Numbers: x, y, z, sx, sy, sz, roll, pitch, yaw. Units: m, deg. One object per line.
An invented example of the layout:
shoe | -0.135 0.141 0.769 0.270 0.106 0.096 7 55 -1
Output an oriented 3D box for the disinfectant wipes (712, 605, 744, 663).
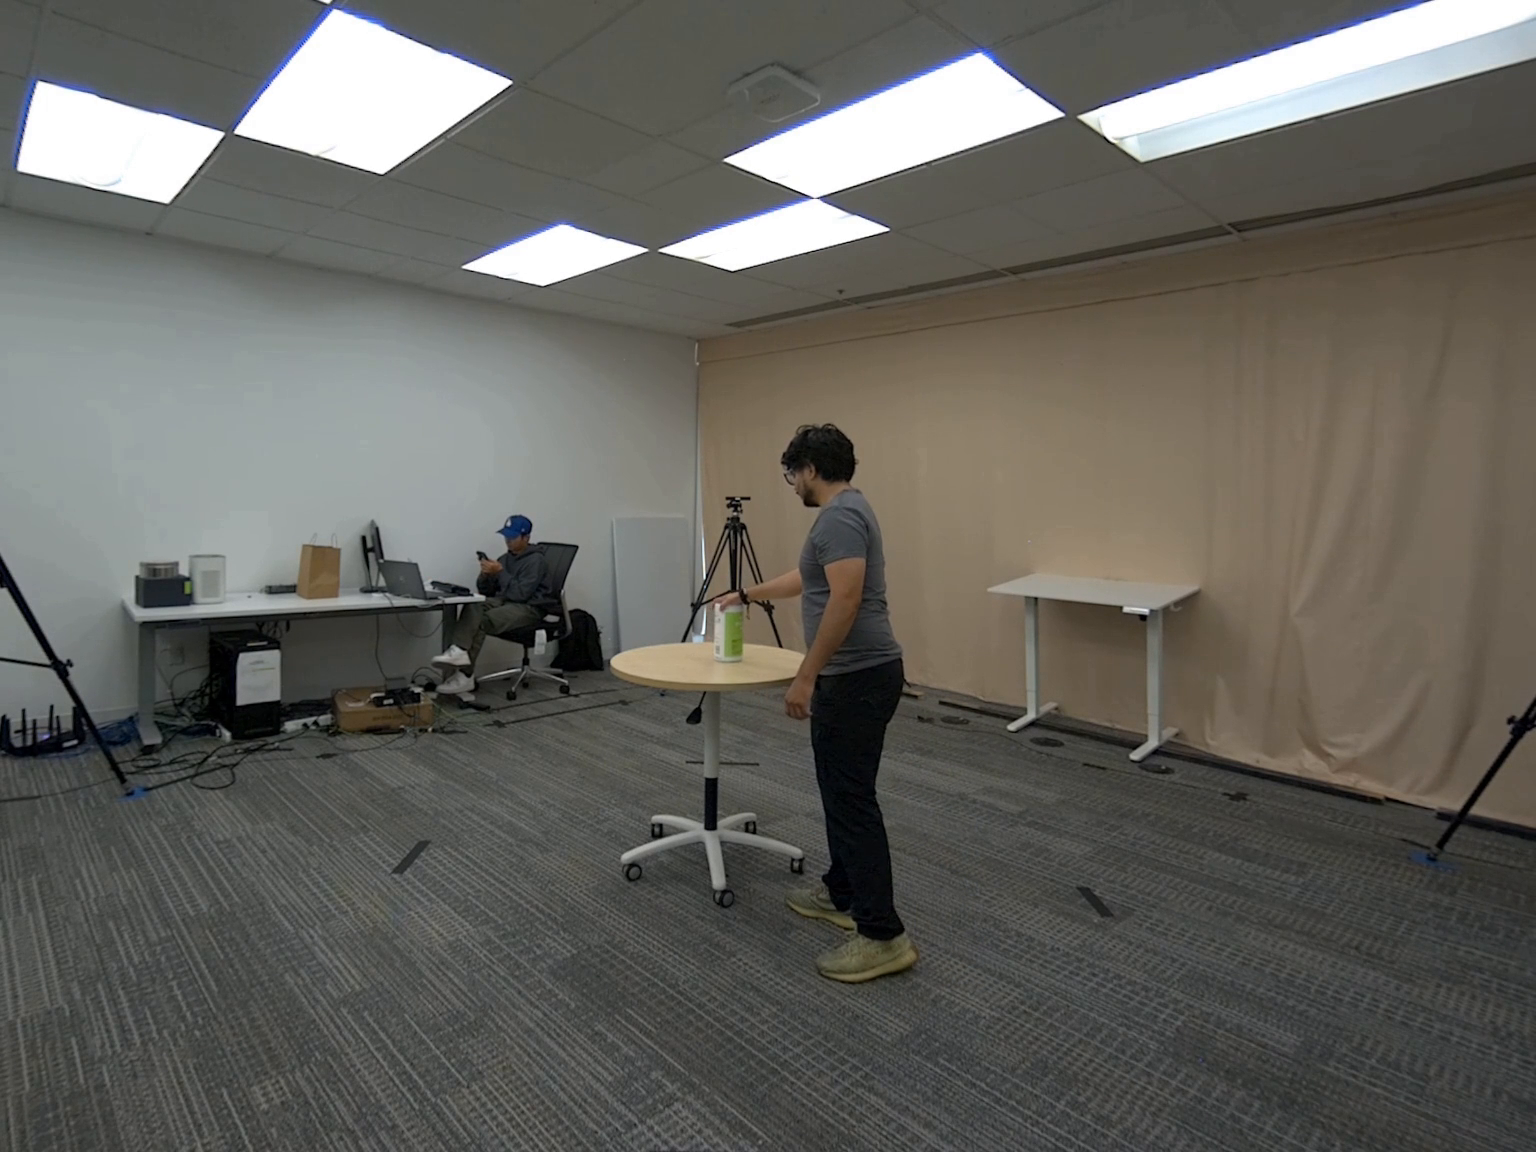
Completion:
disinfectant wipes | -0.153 0.213 3.159 0.118 0.216 0.118 3 5 -2
